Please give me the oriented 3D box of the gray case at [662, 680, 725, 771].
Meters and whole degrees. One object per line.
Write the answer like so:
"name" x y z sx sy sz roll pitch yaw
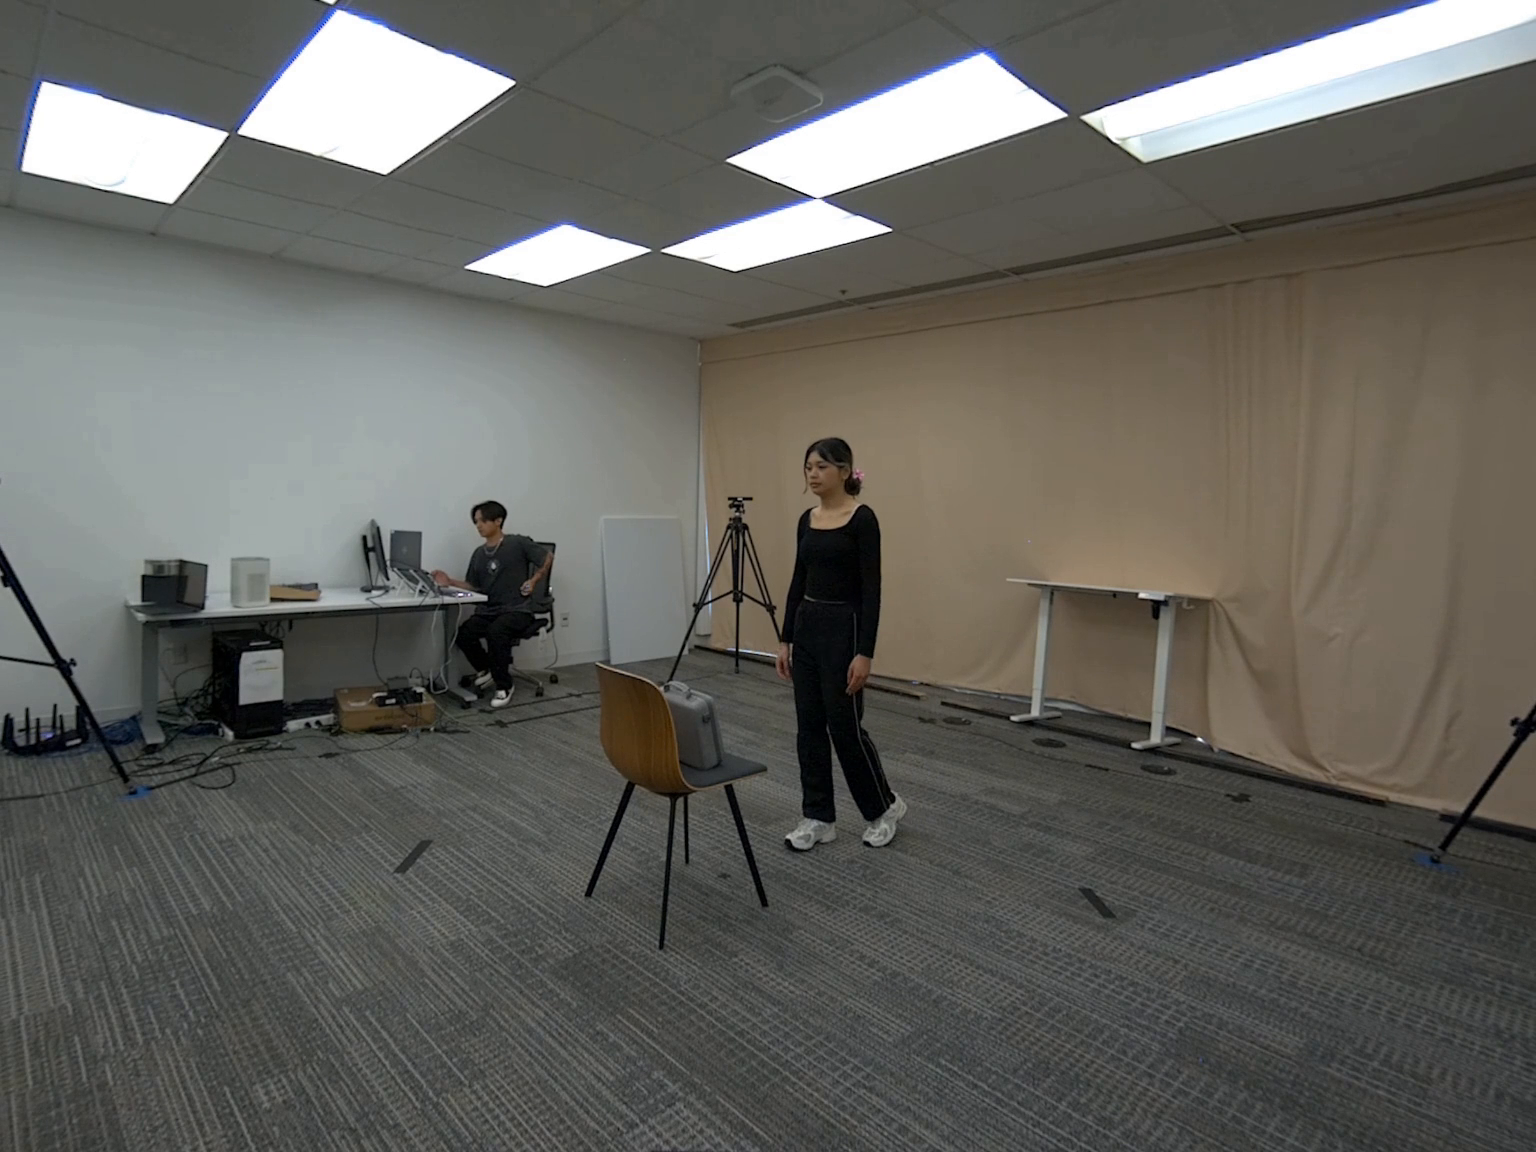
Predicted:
"gray case" -0.290 0.511 2.890 0.103 0.257 0.263 -21 19 -41
